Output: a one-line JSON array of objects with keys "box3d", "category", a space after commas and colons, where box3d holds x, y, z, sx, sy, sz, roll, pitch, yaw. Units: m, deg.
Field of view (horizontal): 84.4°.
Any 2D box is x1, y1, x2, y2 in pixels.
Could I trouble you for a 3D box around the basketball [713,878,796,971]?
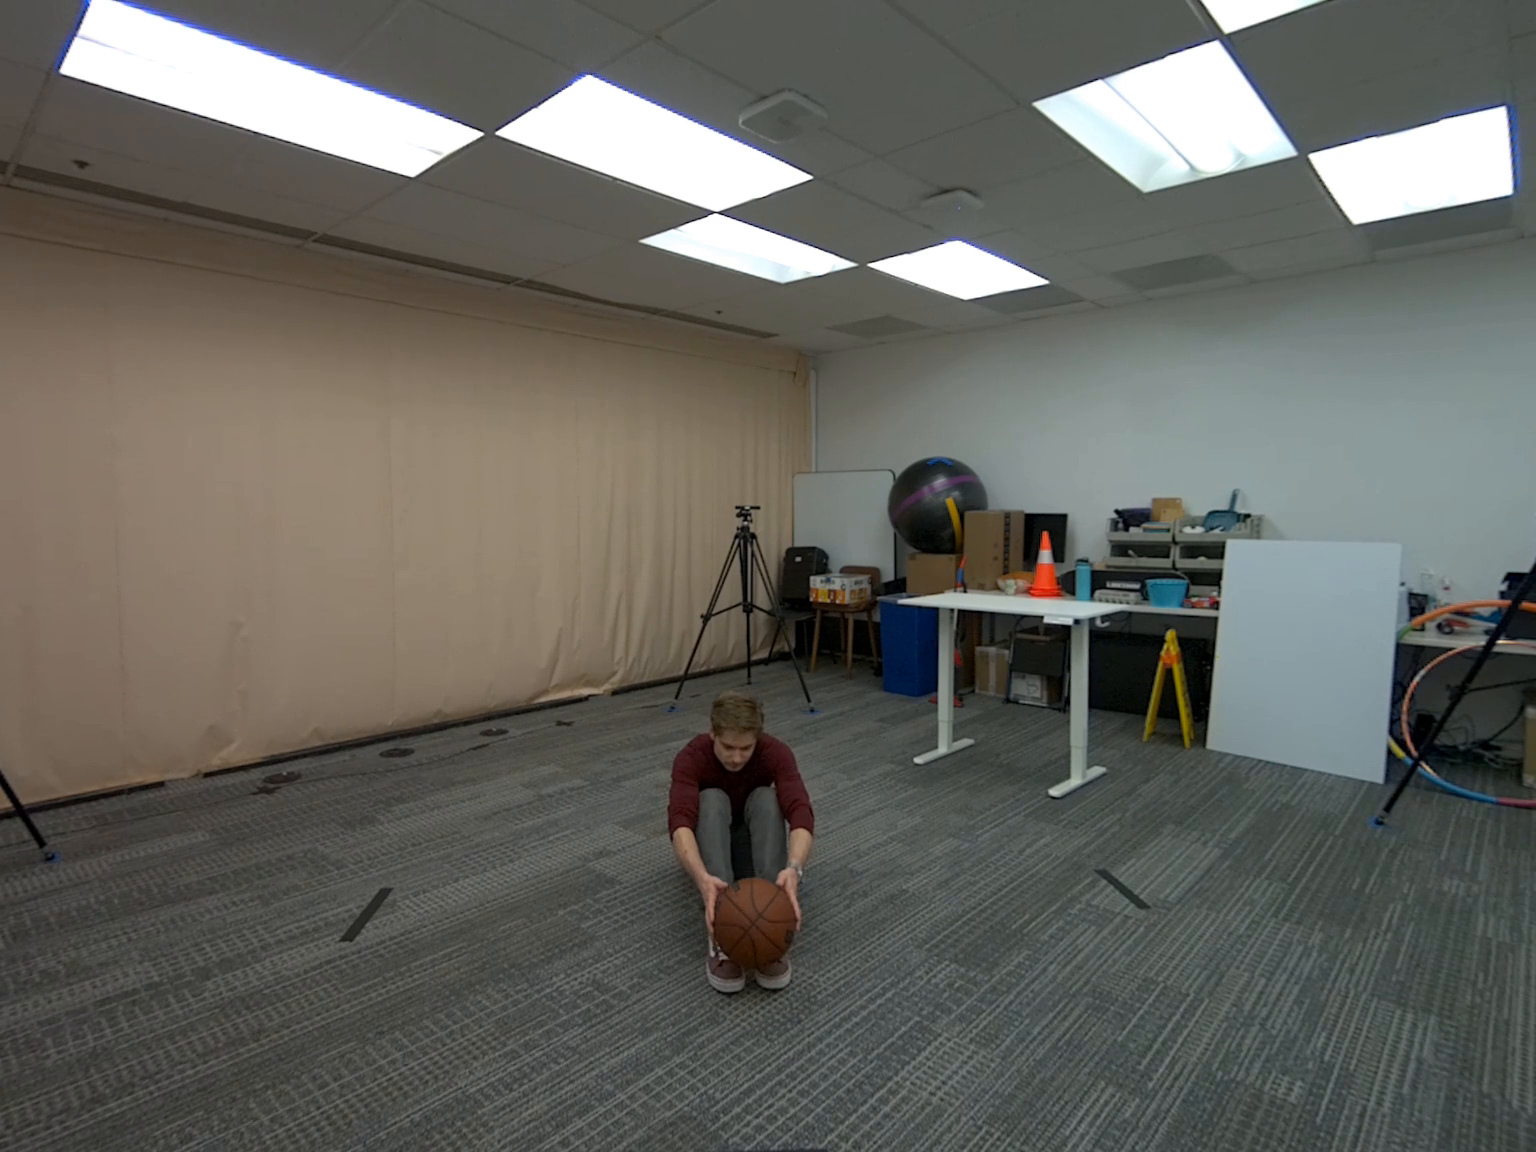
[{"box3d": [-0.039, 0.979, 2.411, 0.236, 0.235, 0.237, 0, 4, -2], "category": "basketball"}]
